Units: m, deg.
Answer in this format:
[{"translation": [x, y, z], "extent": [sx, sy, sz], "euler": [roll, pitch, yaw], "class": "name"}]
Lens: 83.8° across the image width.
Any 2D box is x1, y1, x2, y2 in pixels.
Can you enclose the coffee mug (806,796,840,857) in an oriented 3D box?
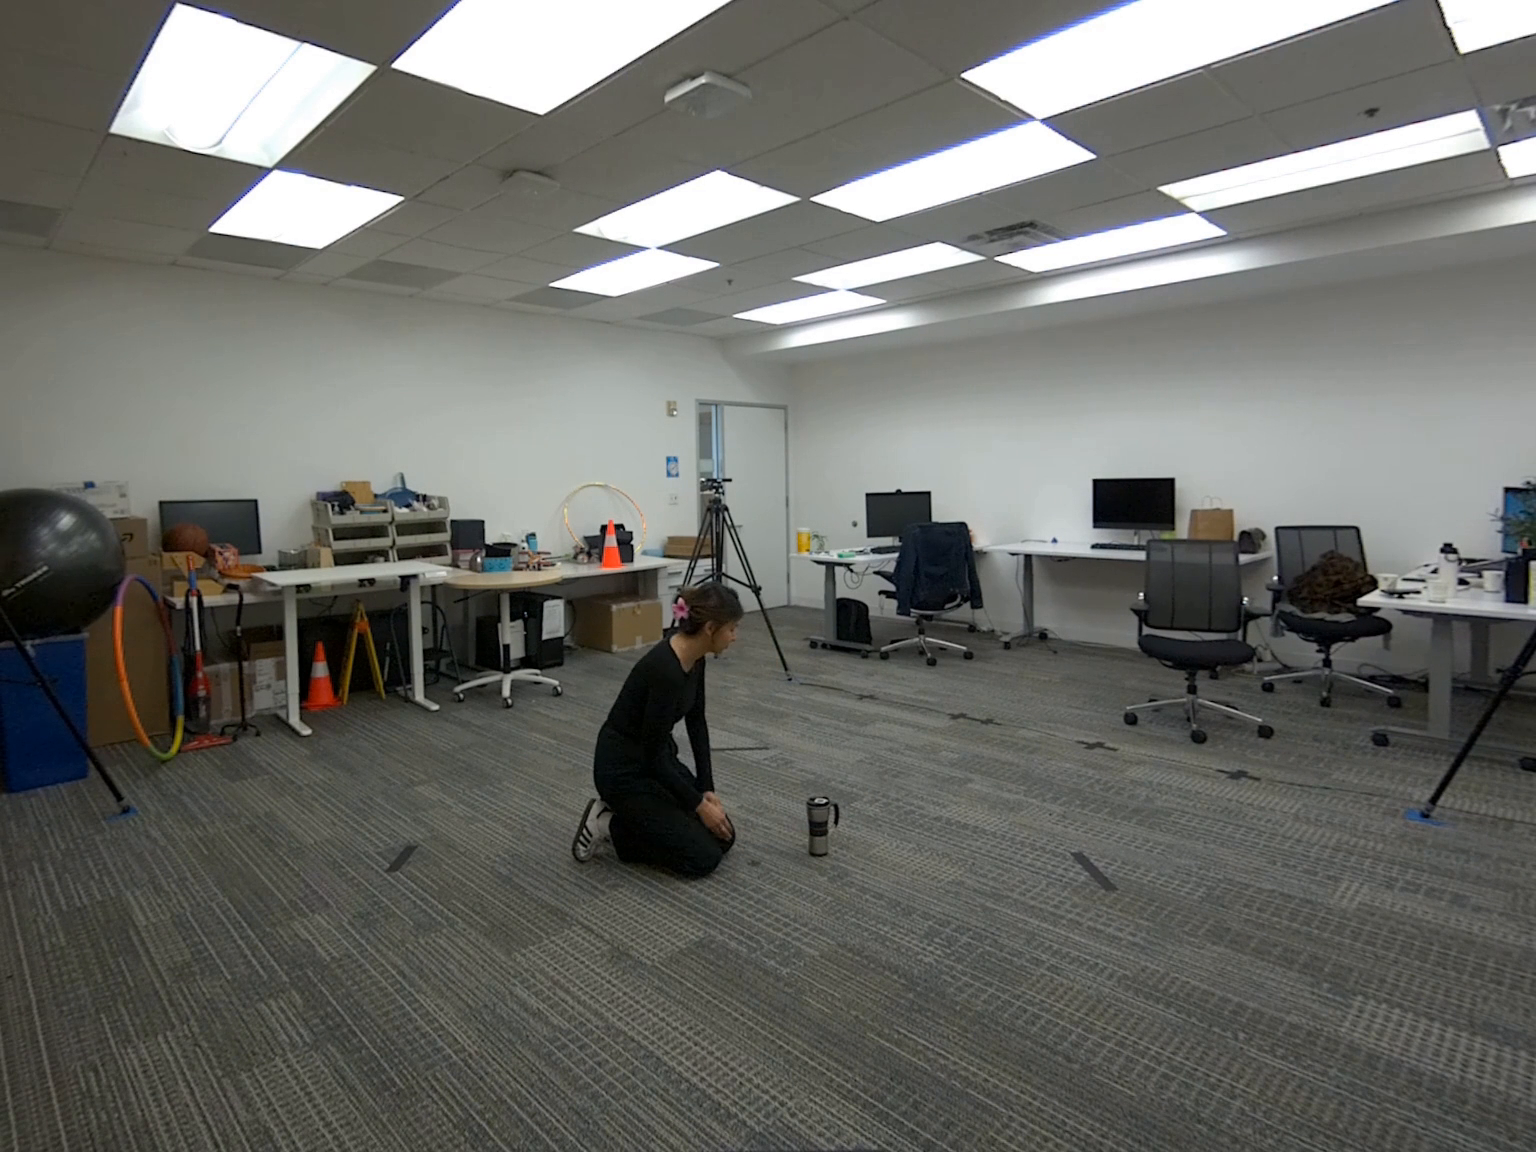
[{"translation": [0.209, 0.927, 3.166], "extent": [0.123, 0.202, 0.087], "euler": [-1, 2, 7], "class": "coffee mug"}]
